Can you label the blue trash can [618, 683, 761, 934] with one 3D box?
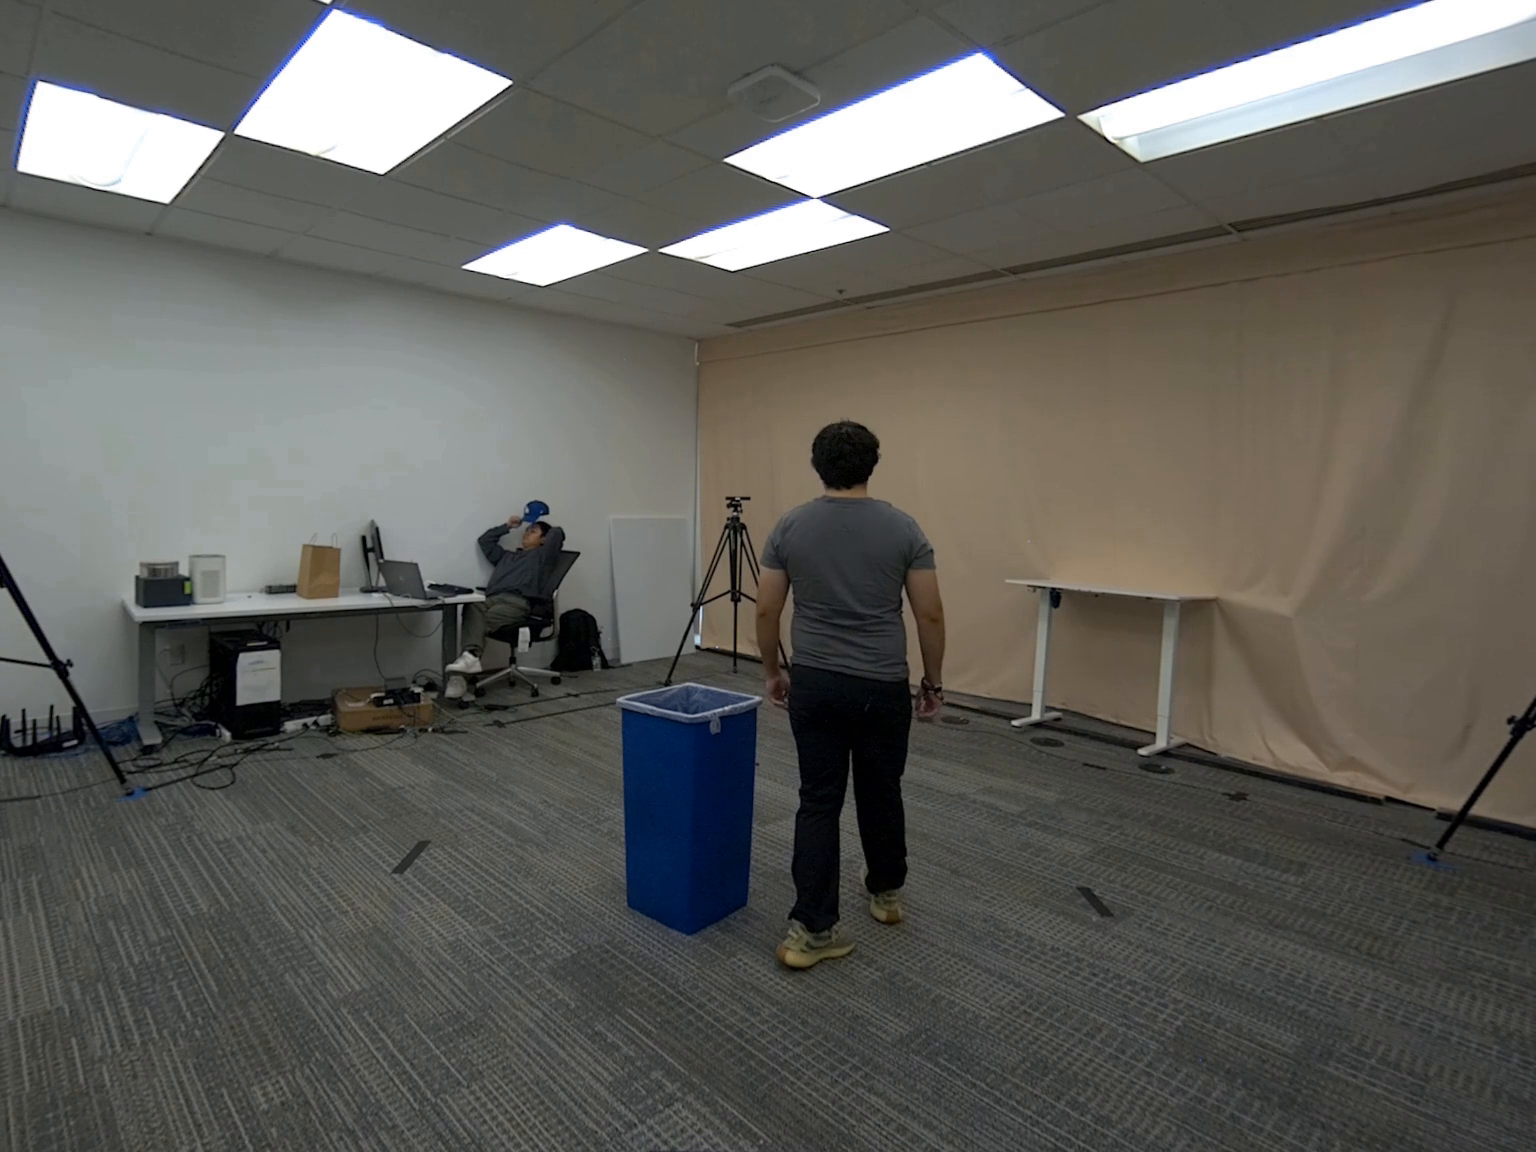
[{"bbox_3d":[-0.281,0.769,2.863,0.383,0.712,0.369,4,4,39],"label":"blue trash can"}]
